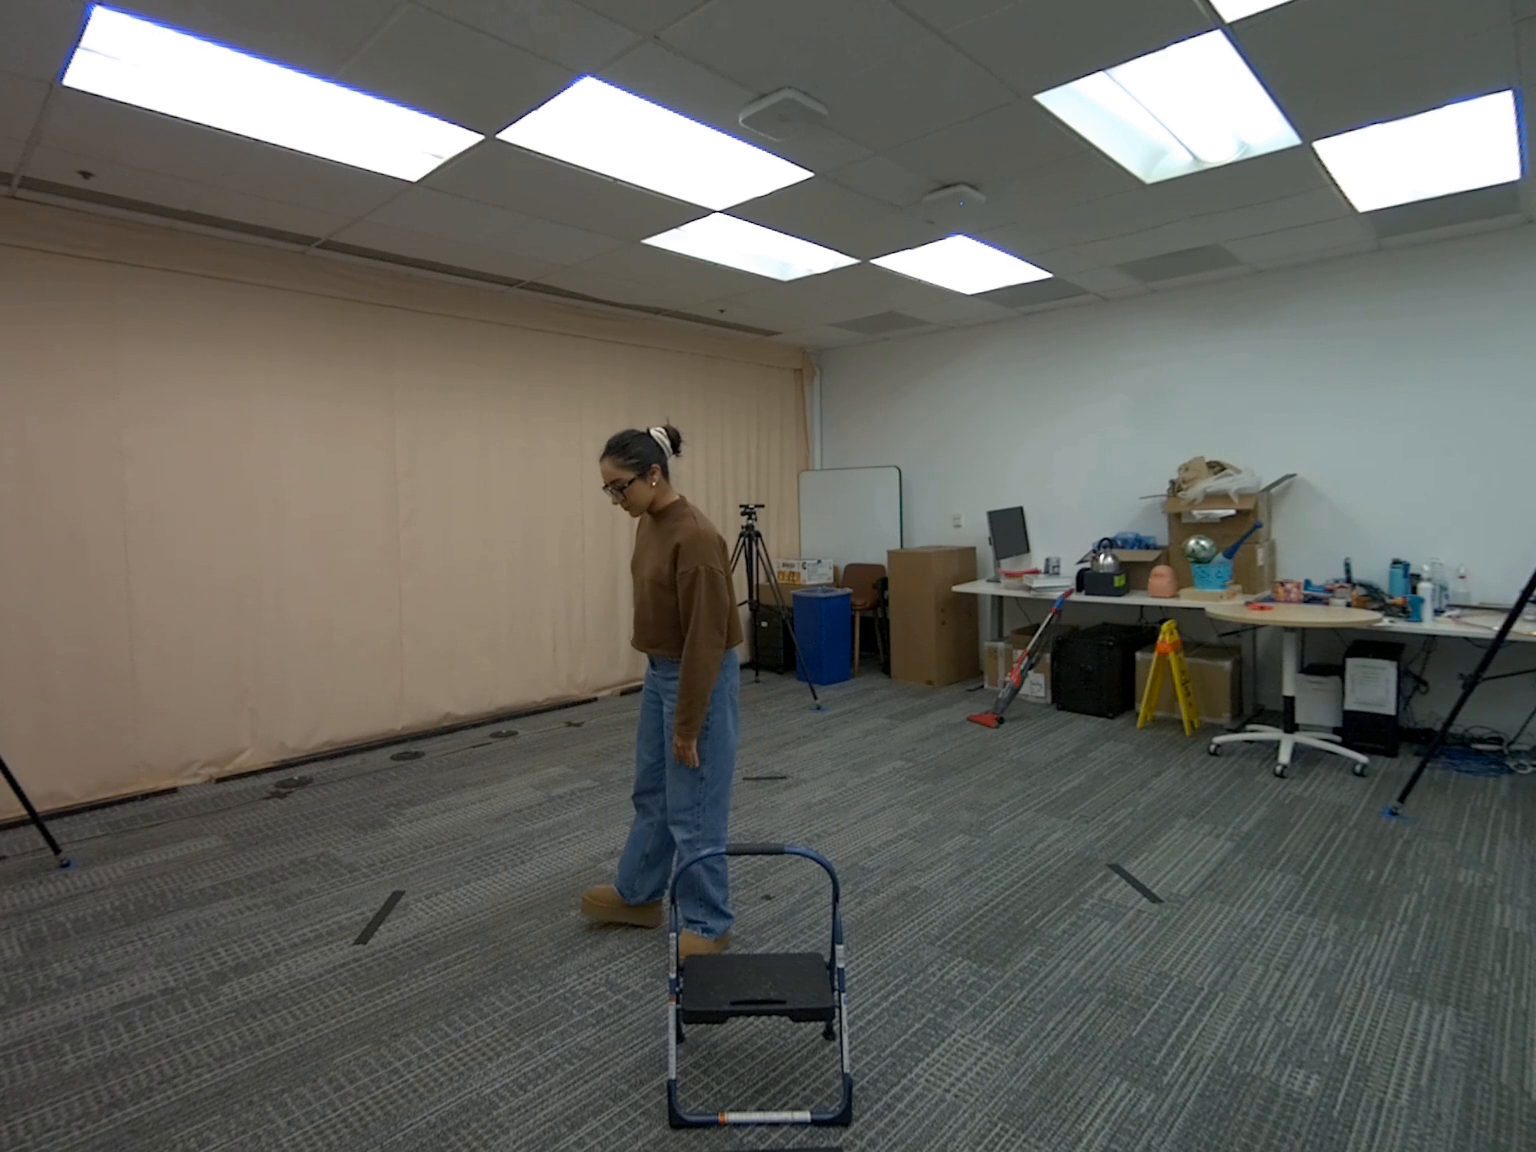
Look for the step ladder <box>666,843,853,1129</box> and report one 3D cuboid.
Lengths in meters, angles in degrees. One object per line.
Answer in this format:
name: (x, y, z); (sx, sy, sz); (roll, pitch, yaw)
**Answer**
step ladder: (-0.026, 0.922, 2.030); (0.430, 0.605, 0.351); (-1, 3, -2)
